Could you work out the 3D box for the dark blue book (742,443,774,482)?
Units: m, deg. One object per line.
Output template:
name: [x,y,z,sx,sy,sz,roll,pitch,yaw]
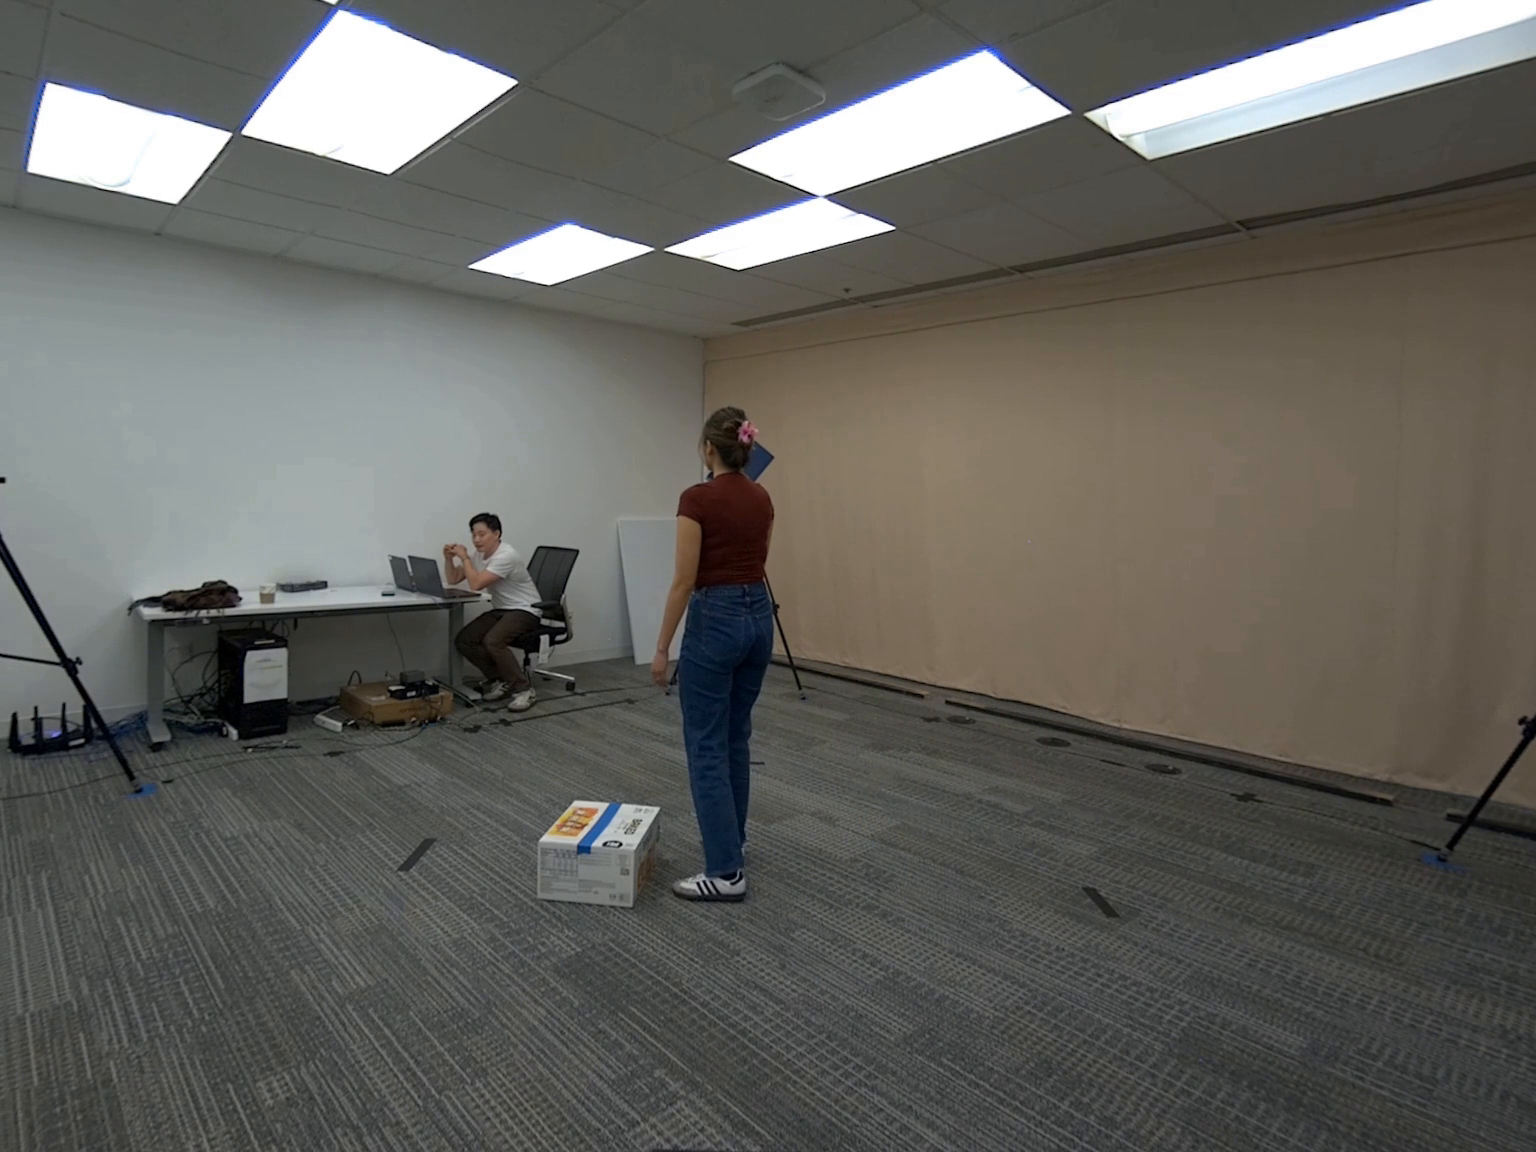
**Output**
dark blue book: [-0.119,-0.437,3.411,0.163,0.245,0.045,39,-12,1]
